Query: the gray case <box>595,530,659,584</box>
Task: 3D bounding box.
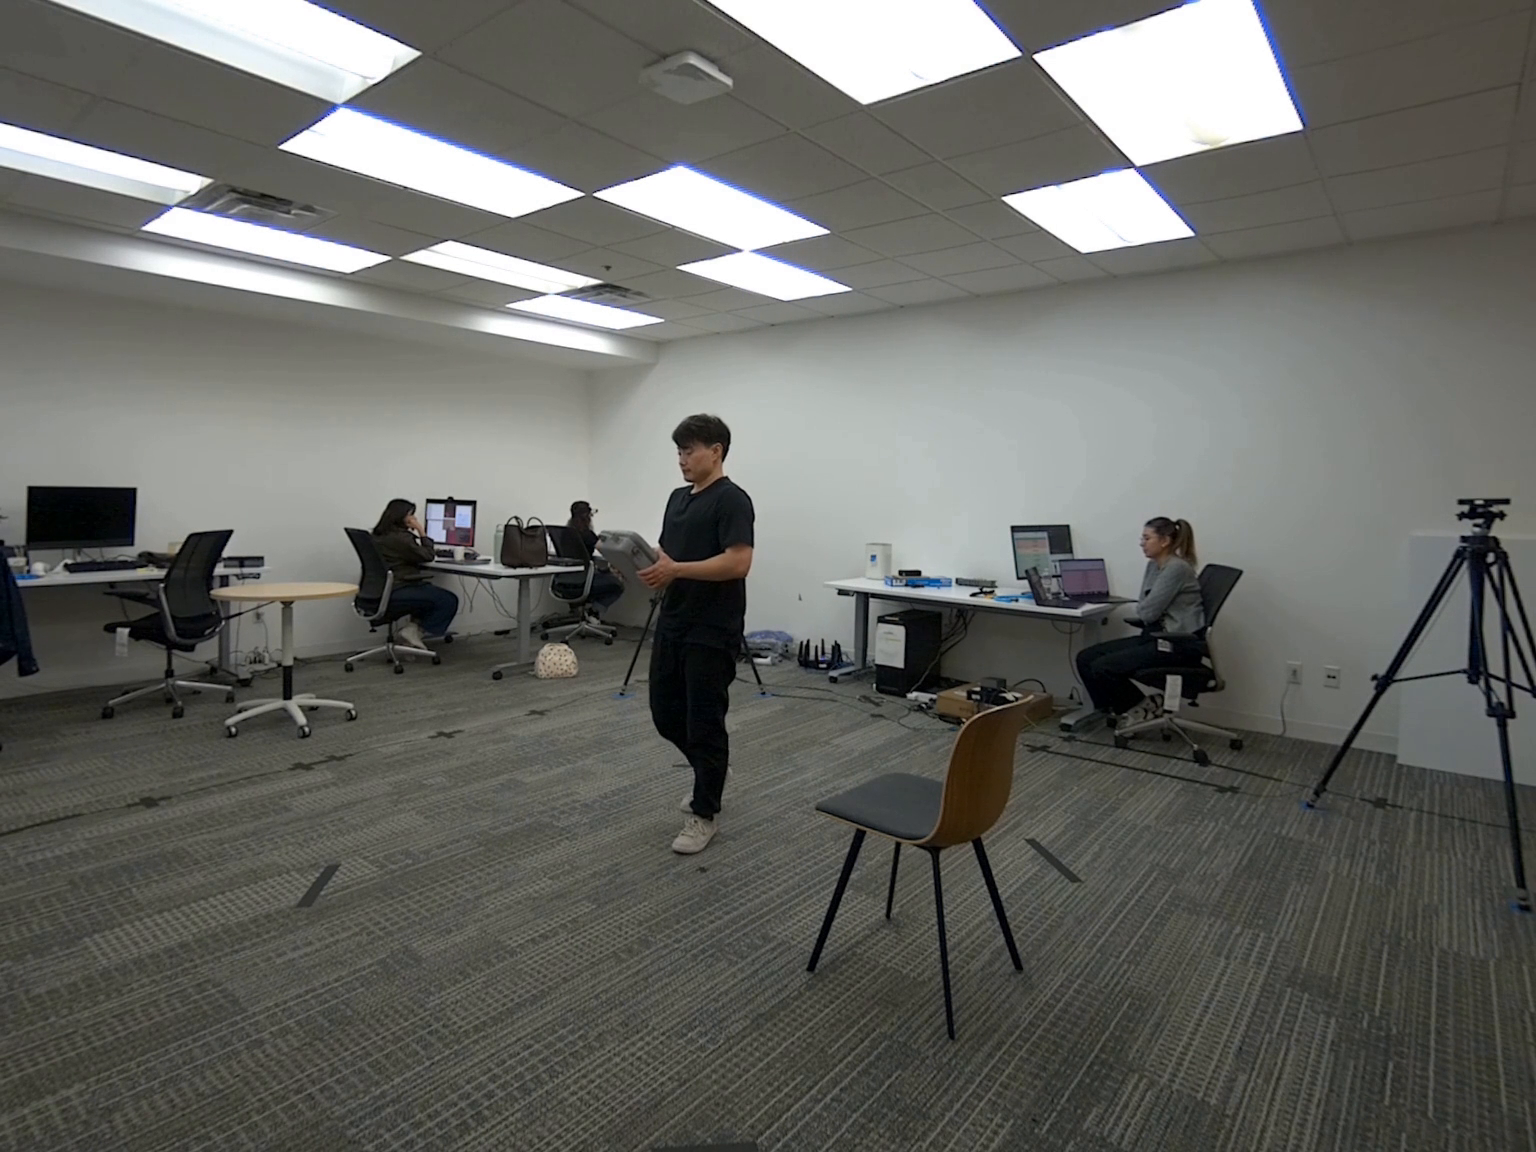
[{"bbox_3d":[-0.524,-0.069,3.233,0.265,0.105,0.251,7,-33,53],"label":"gray case"}]
